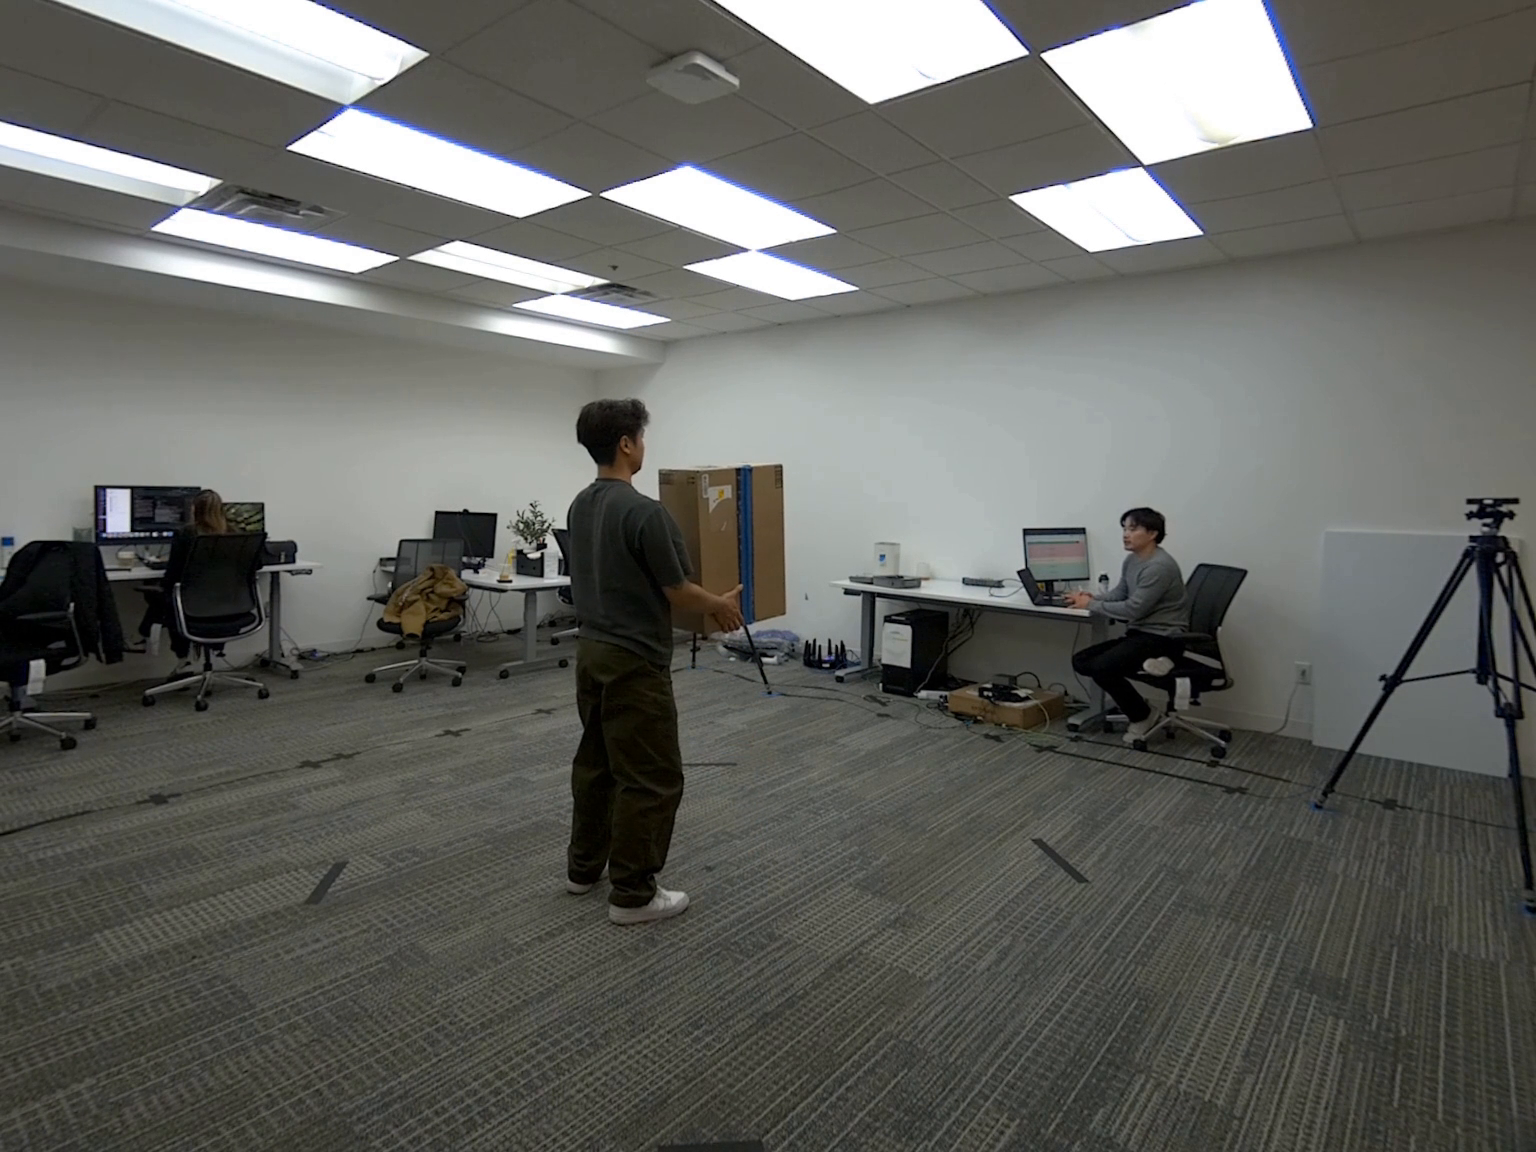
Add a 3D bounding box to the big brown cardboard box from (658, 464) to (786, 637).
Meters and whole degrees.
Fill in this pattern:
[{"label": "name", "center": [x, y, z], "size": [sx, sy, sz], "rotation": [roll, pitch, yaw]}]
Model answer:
[{"label": "big brown cardboard box", "center": [-0.166, -0.121, 3.083], "size": [0.407, 0.584, 0.241], "rotation": [-10, 13, -43]}]
